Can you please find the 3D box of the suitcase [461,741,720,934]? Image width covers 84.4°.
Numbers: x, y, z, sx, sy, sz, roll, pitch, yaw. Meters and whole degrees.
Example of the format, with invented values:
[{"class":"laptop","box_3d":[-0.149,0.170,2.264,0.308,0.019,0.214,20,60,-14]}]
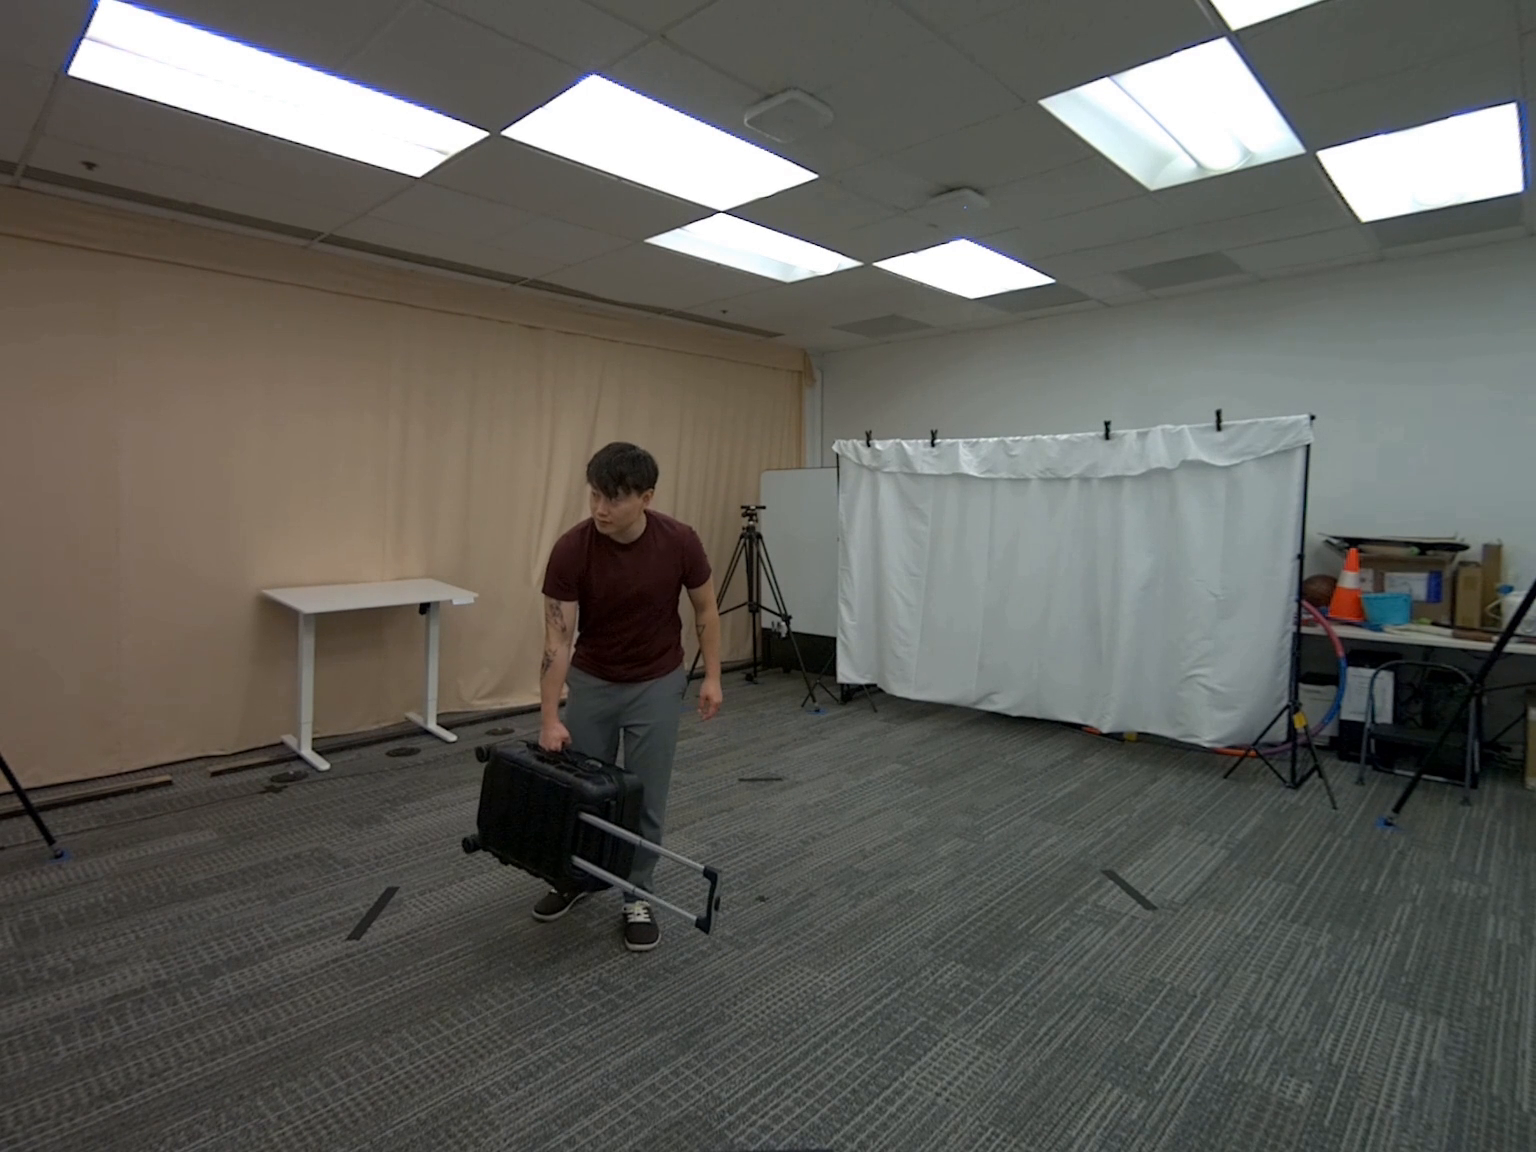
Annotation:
[{"class":"suitcase","box_3d":[-0.486,0.758,2.486,1.010,0.384,0.249,8,0,34]}]
